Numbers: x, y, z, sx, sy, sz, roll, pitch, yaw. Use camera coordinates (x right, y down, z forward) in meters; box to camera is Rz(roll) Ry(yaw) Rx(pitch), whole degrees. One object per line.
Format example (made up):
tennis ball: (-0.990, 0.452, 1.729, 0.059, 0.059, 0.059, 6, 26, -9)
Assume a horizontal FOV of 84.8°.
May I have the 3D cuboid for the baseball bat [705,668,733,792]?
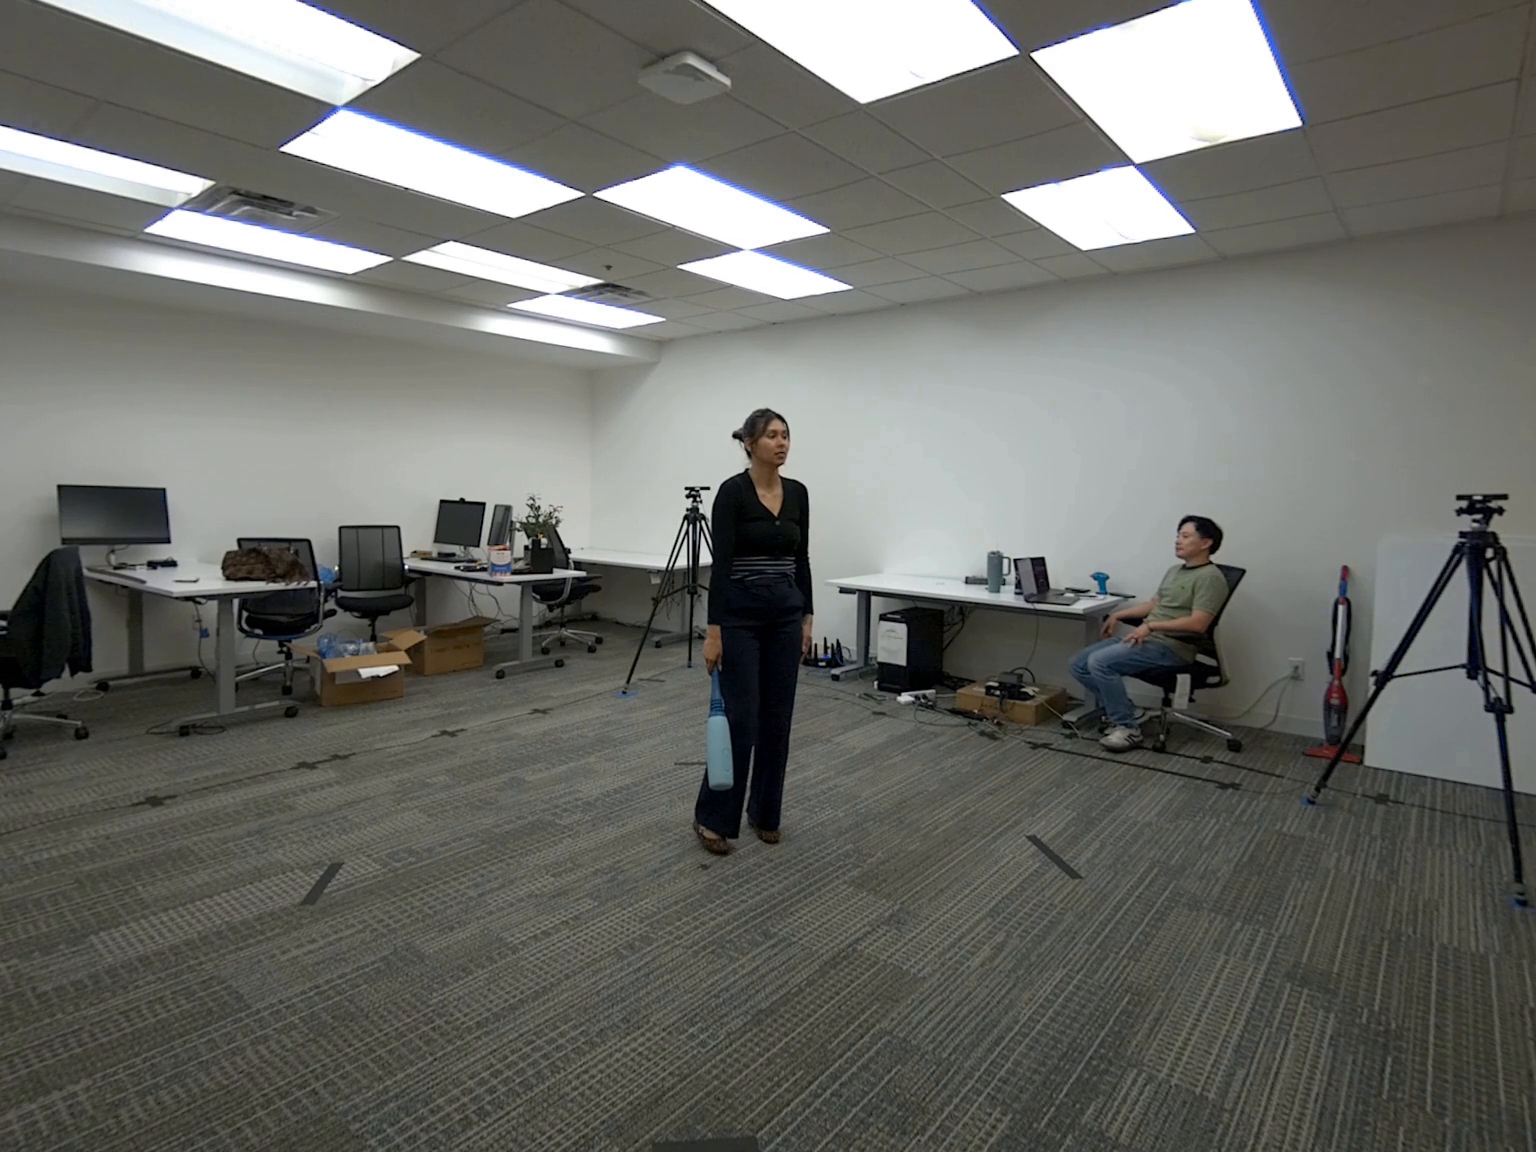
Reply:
baseball bat: (-0.193, 0.502, 3.098, 0.089, 0.557, 0.087, -5, -27, -4)
